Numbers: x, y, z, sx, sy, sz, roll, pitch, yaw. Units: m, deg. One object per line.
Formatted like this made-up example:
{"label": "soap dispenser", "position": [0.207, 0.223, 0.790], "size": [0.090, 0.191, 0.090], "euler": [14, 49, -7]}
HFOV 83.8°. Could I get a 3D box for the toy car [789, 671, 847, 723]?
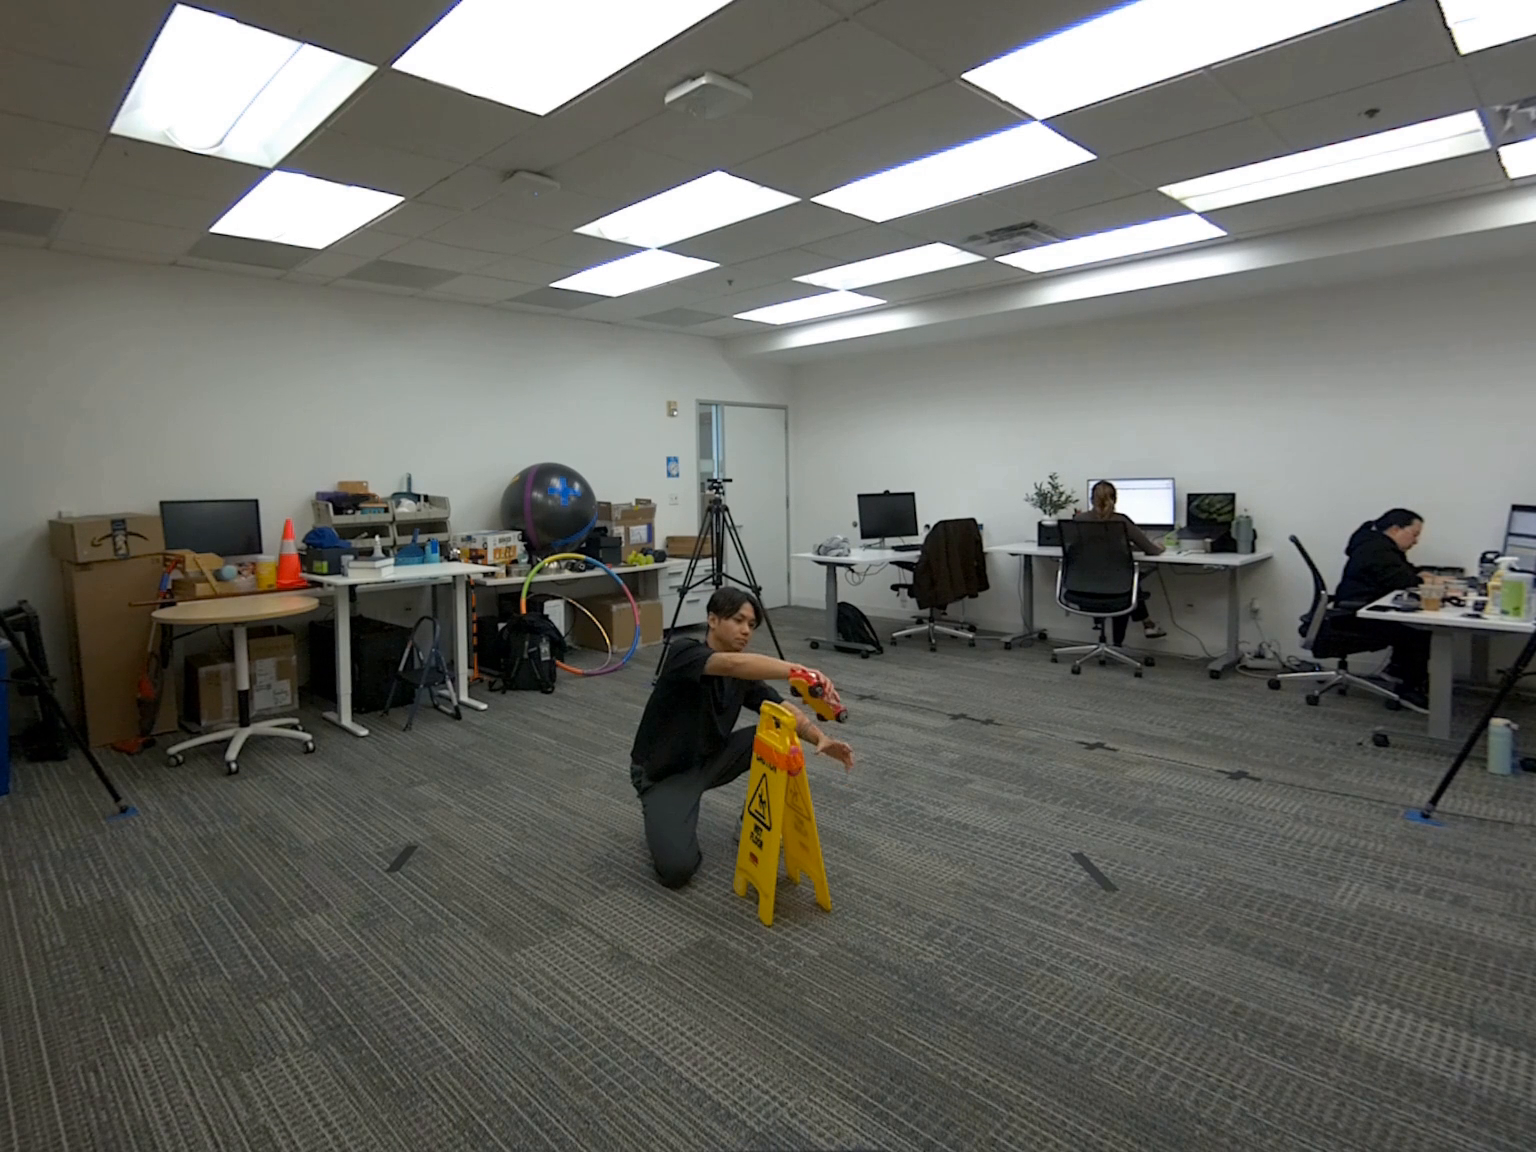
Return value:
{"label": "toy car", "position": [0.159, 0.401, 2.809], "size": [0.133, 0.248, 0.083], "euler": [-7, 33, 52]}
